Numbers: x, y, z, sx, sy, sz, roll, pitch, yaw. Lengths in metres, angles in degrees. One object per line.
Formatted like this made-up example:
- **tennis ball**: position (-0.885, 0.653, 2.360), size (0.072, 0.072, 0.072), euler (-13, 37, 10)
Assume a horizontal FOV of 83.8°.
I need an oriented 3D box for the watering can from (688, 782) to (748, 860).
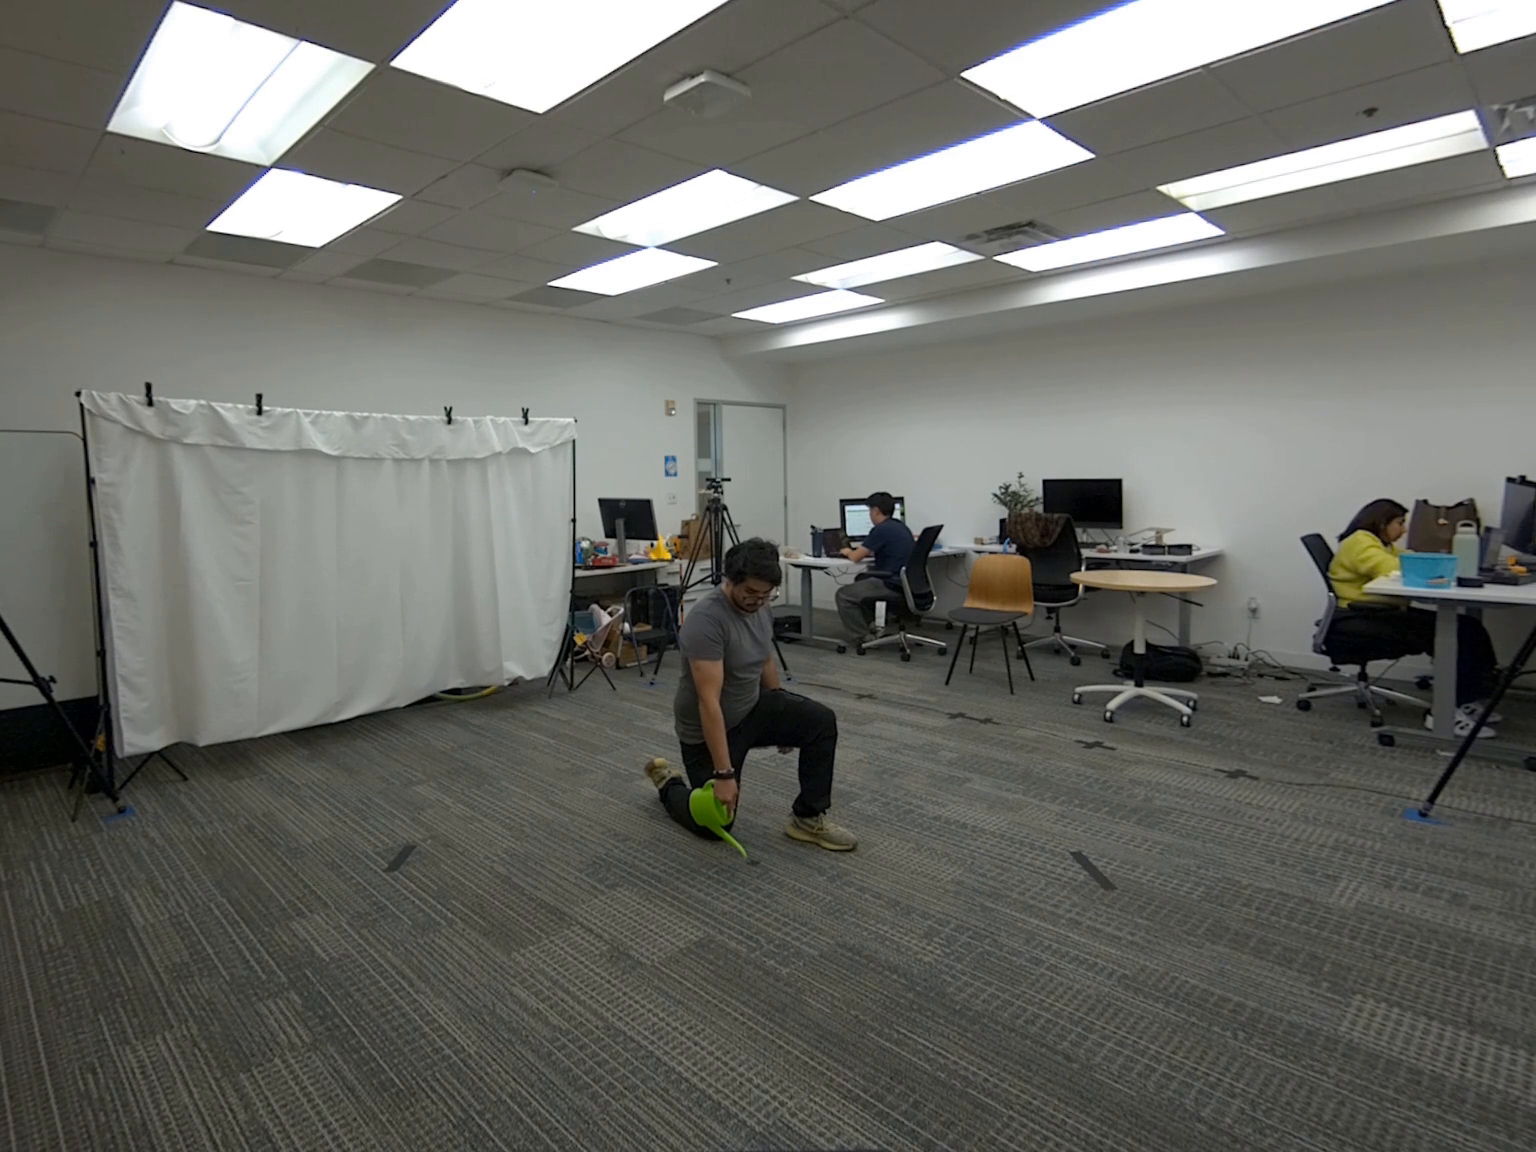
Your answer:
- **watering can**: position (-0.181, 0.866, 3.021), size (0.095, 0.282, 0.180), euler (5, -17, -43)
